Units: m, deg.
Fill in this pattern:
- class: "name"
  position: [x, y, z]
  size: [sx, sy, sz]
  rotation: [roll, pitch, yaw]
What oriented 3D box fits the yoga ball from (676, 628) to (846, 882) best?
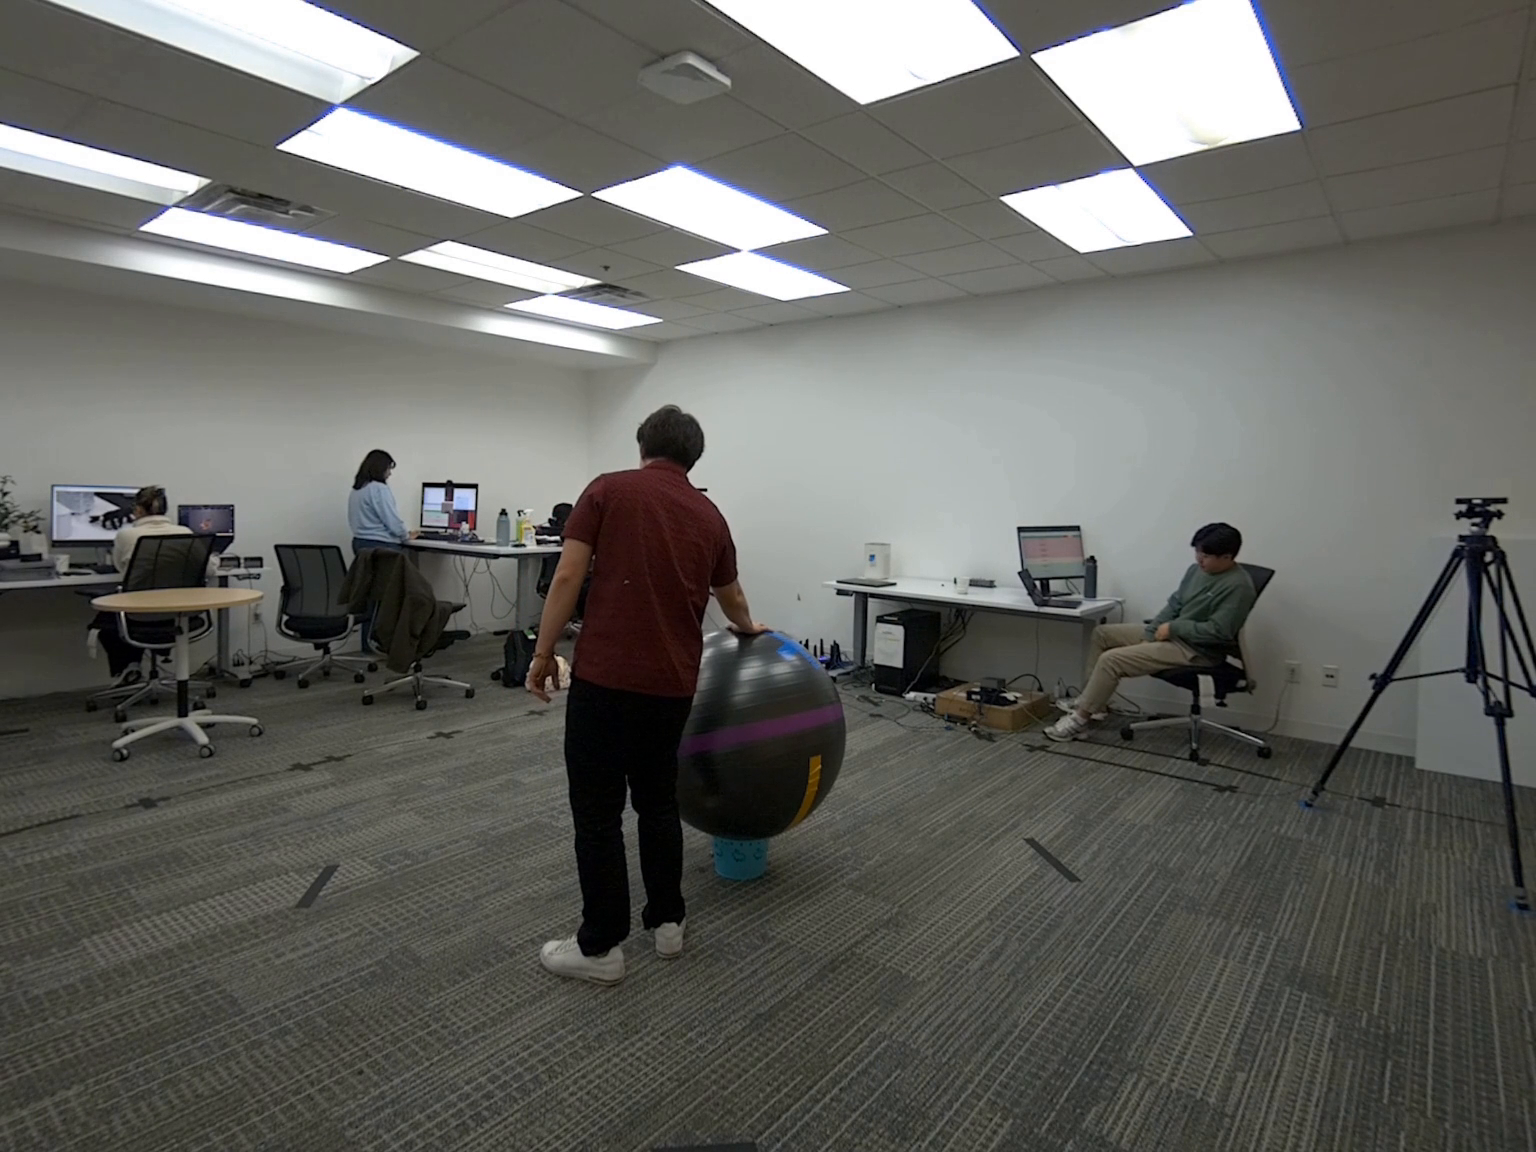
- class: "yoga ball"
  position: [-0.108, 0.564, 3.106]
  size: [0.757, 0.755, 0.762]
  rotation: [1, 4, -2]
